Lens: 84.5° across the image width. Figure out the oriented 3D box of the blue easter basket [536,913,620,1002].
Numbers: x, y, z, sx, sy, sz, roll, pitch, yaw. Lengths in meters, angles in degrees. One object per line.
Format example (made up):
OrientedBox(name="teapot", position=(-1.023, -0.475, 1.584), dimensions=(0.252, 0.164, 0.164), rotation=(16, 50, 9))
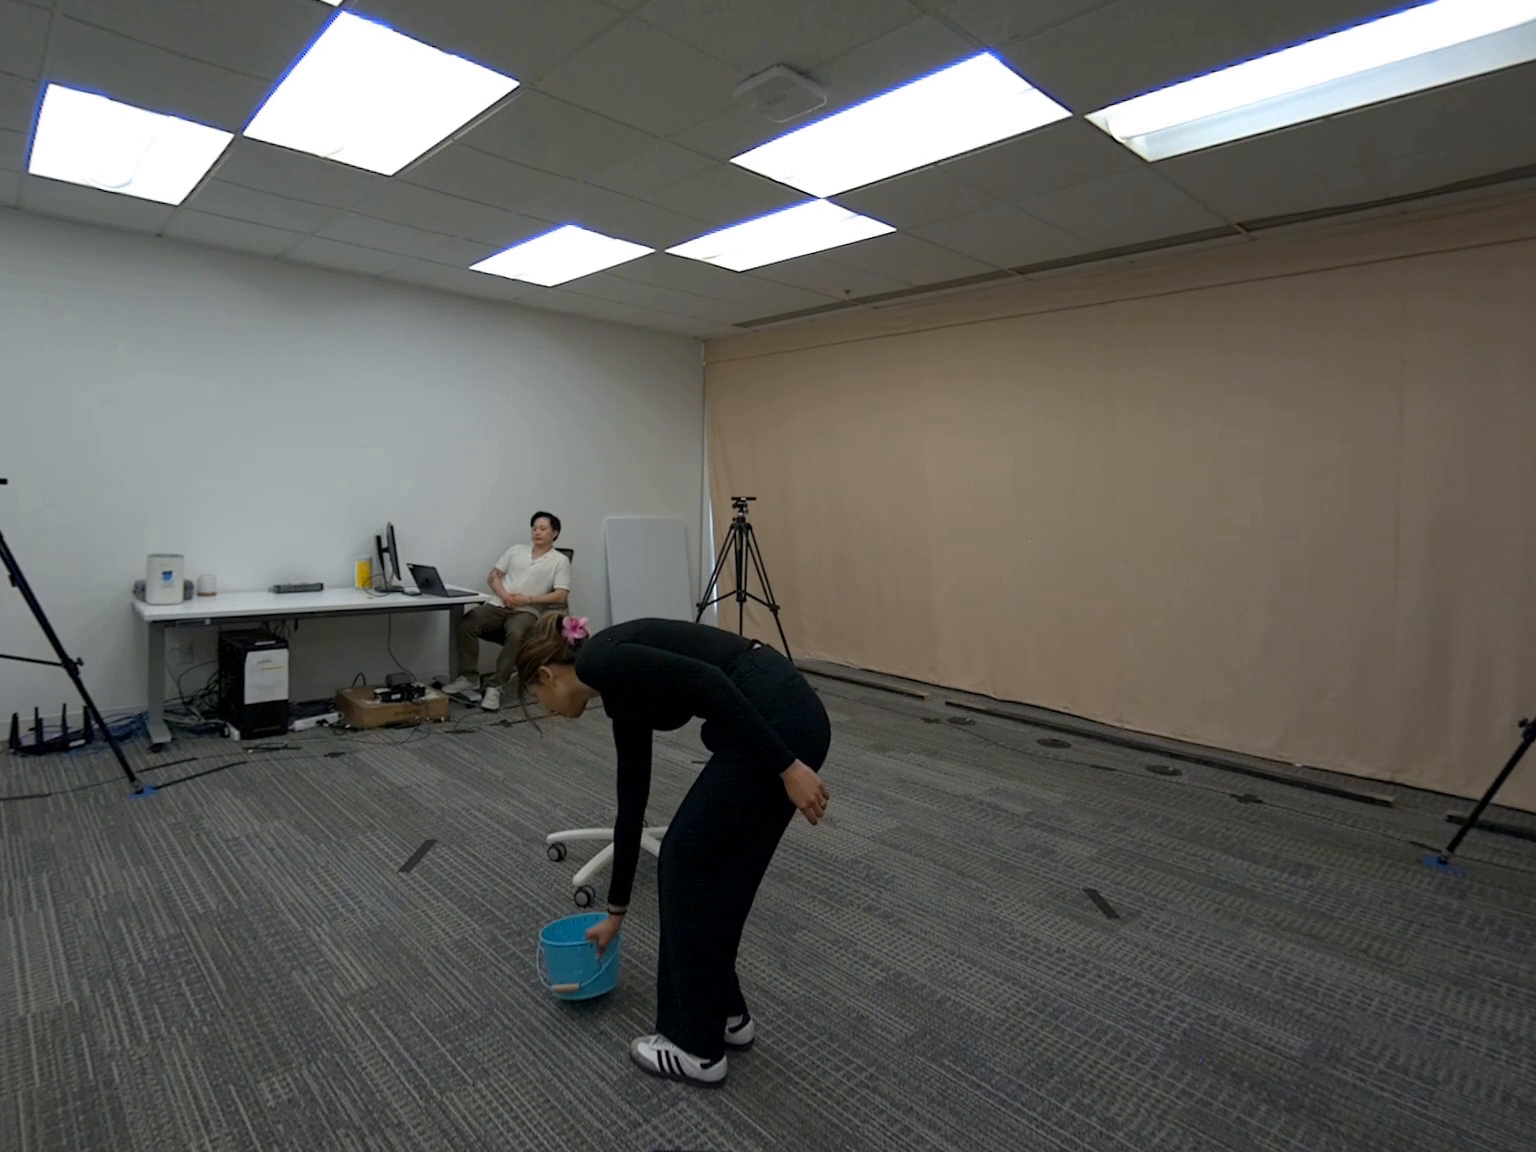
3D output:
OrientedBox(name="blue easter basket", position=(-0.523, 1.051, 2.311), dimensions=(0.243, 0.156, 0.243), rotation=(-5, -3, -2))
